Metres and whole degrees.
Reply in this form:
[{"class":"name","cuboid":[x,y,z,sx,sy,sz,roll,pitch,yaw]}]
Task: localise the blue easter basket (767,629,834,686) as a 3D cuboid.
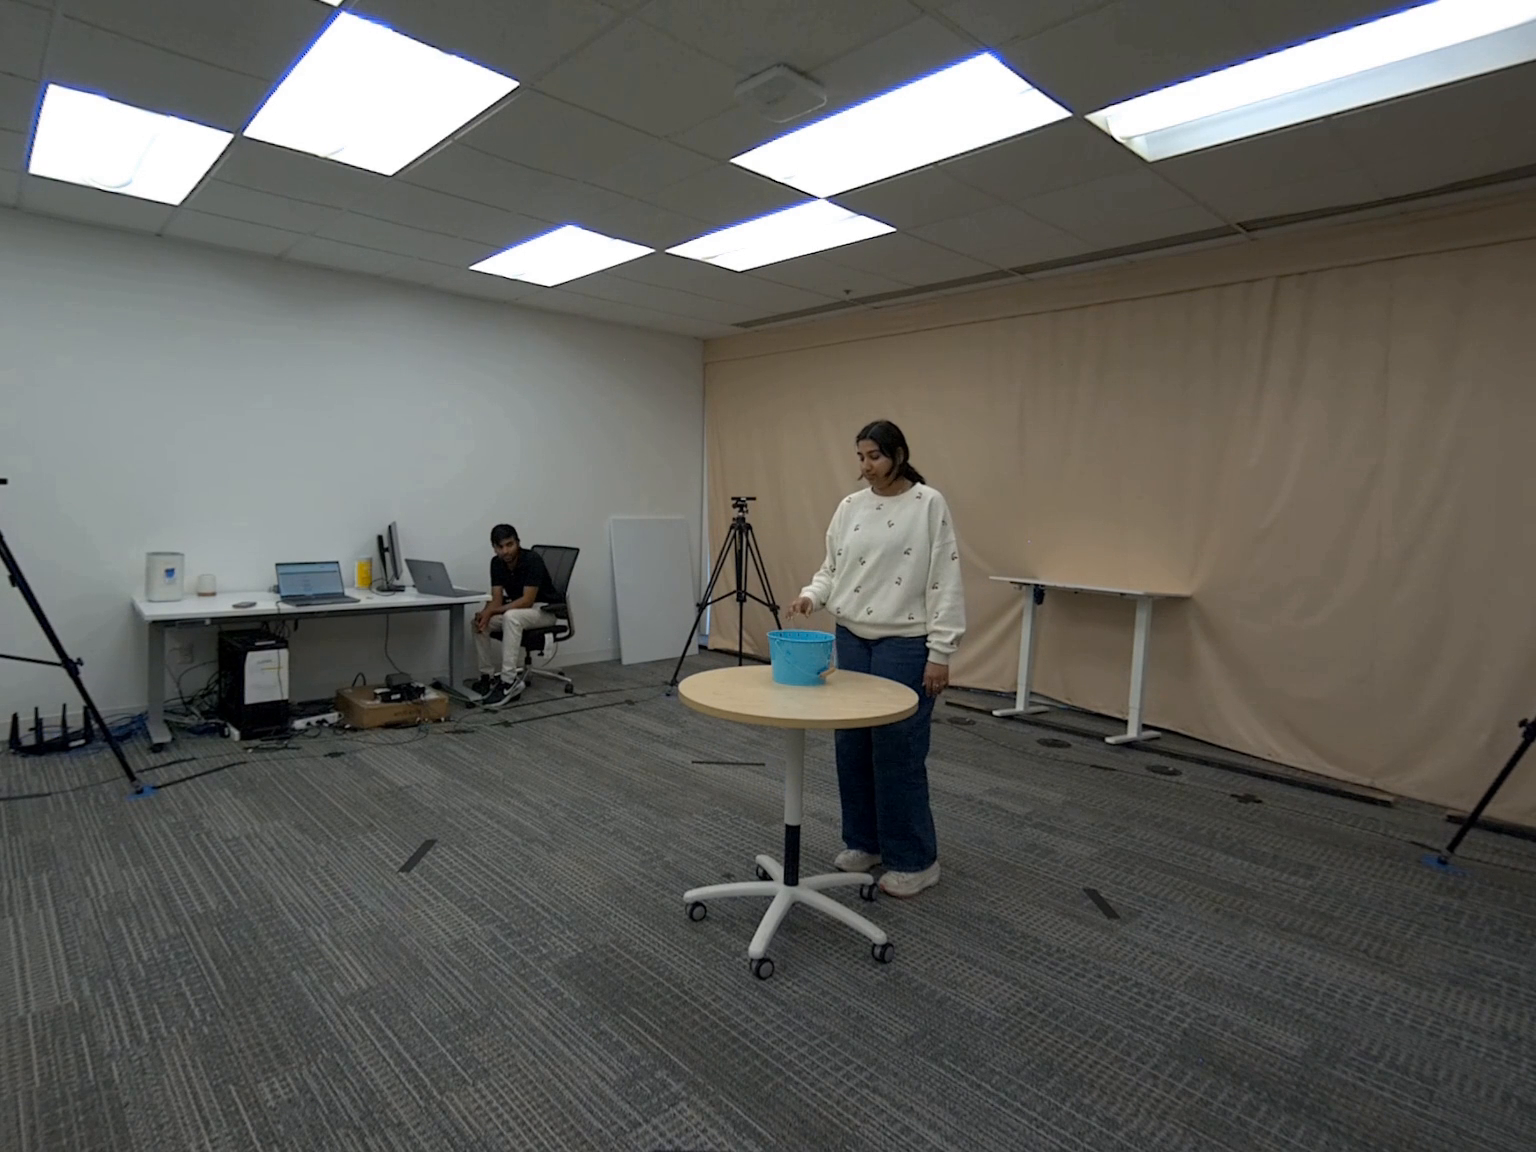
[{"class":"blue easter basket","cuboid":[0.105,0.283,2.838,0.243,0.155,0.244,1,5,-1]}]
